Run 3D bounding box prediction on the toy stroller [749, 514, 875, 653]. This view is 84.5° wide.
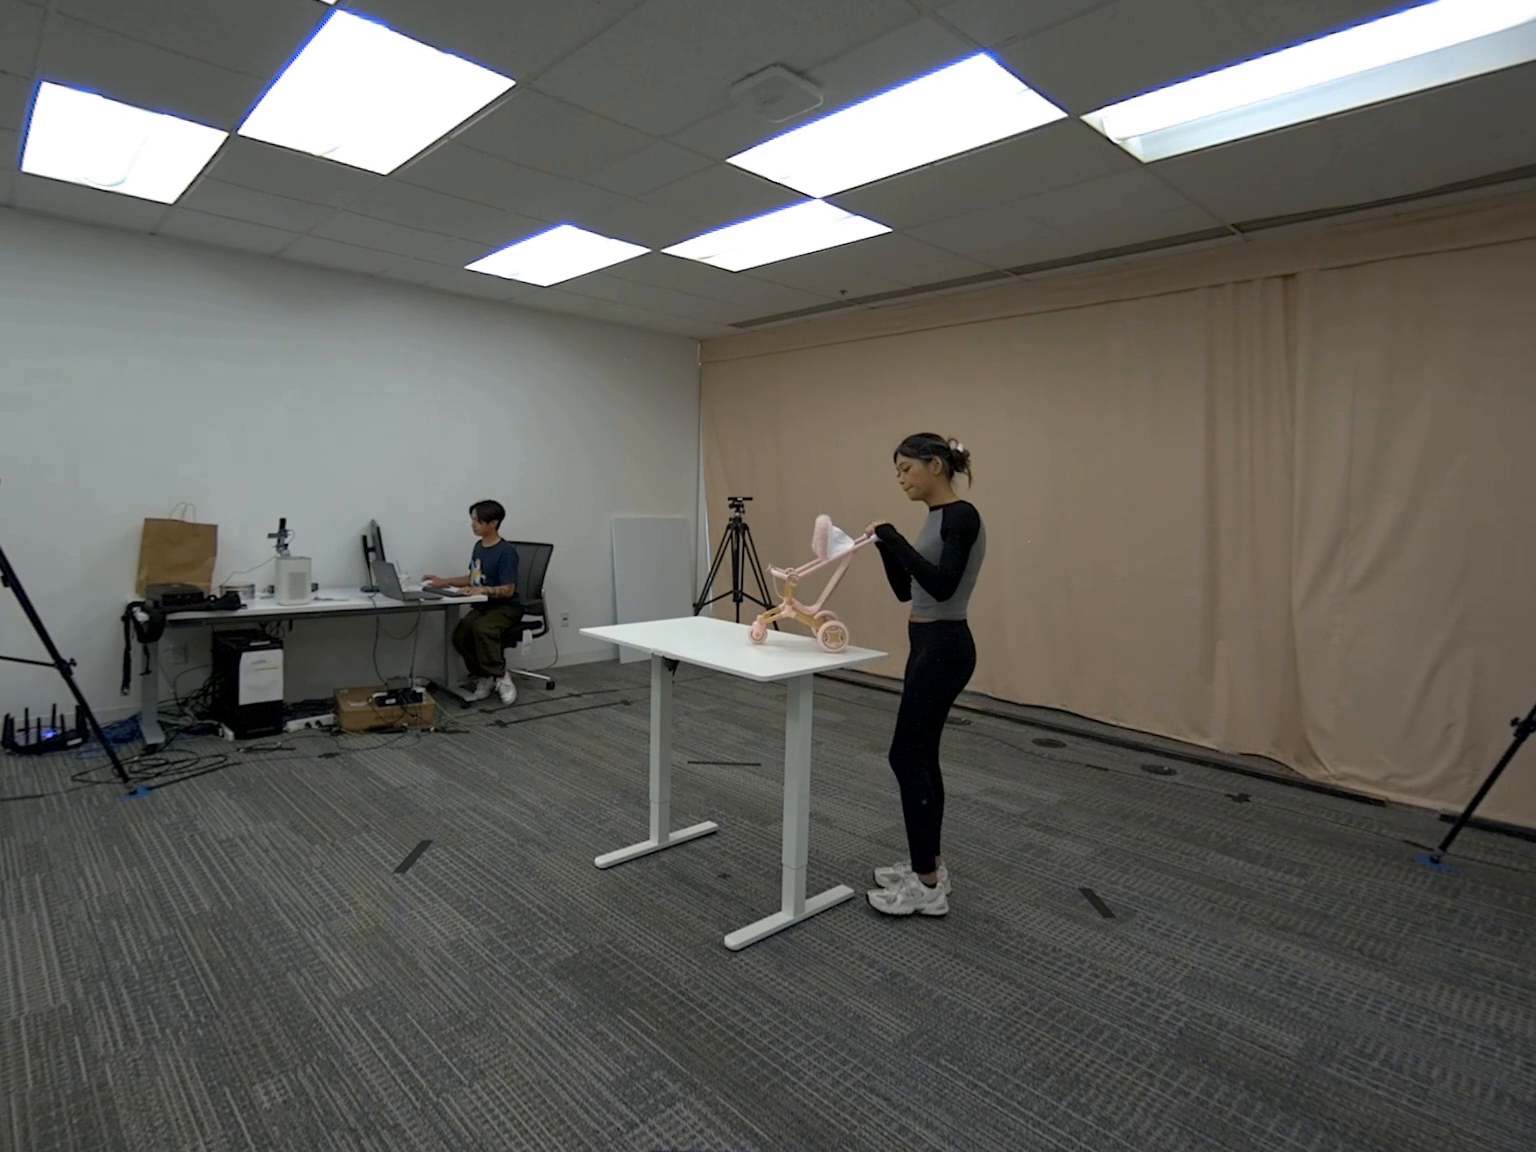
[{"bbox_3d":[0.153,0.025,2.946,0.343,0.534,0.281,18,4,4],"label":"toy stroller"}]
